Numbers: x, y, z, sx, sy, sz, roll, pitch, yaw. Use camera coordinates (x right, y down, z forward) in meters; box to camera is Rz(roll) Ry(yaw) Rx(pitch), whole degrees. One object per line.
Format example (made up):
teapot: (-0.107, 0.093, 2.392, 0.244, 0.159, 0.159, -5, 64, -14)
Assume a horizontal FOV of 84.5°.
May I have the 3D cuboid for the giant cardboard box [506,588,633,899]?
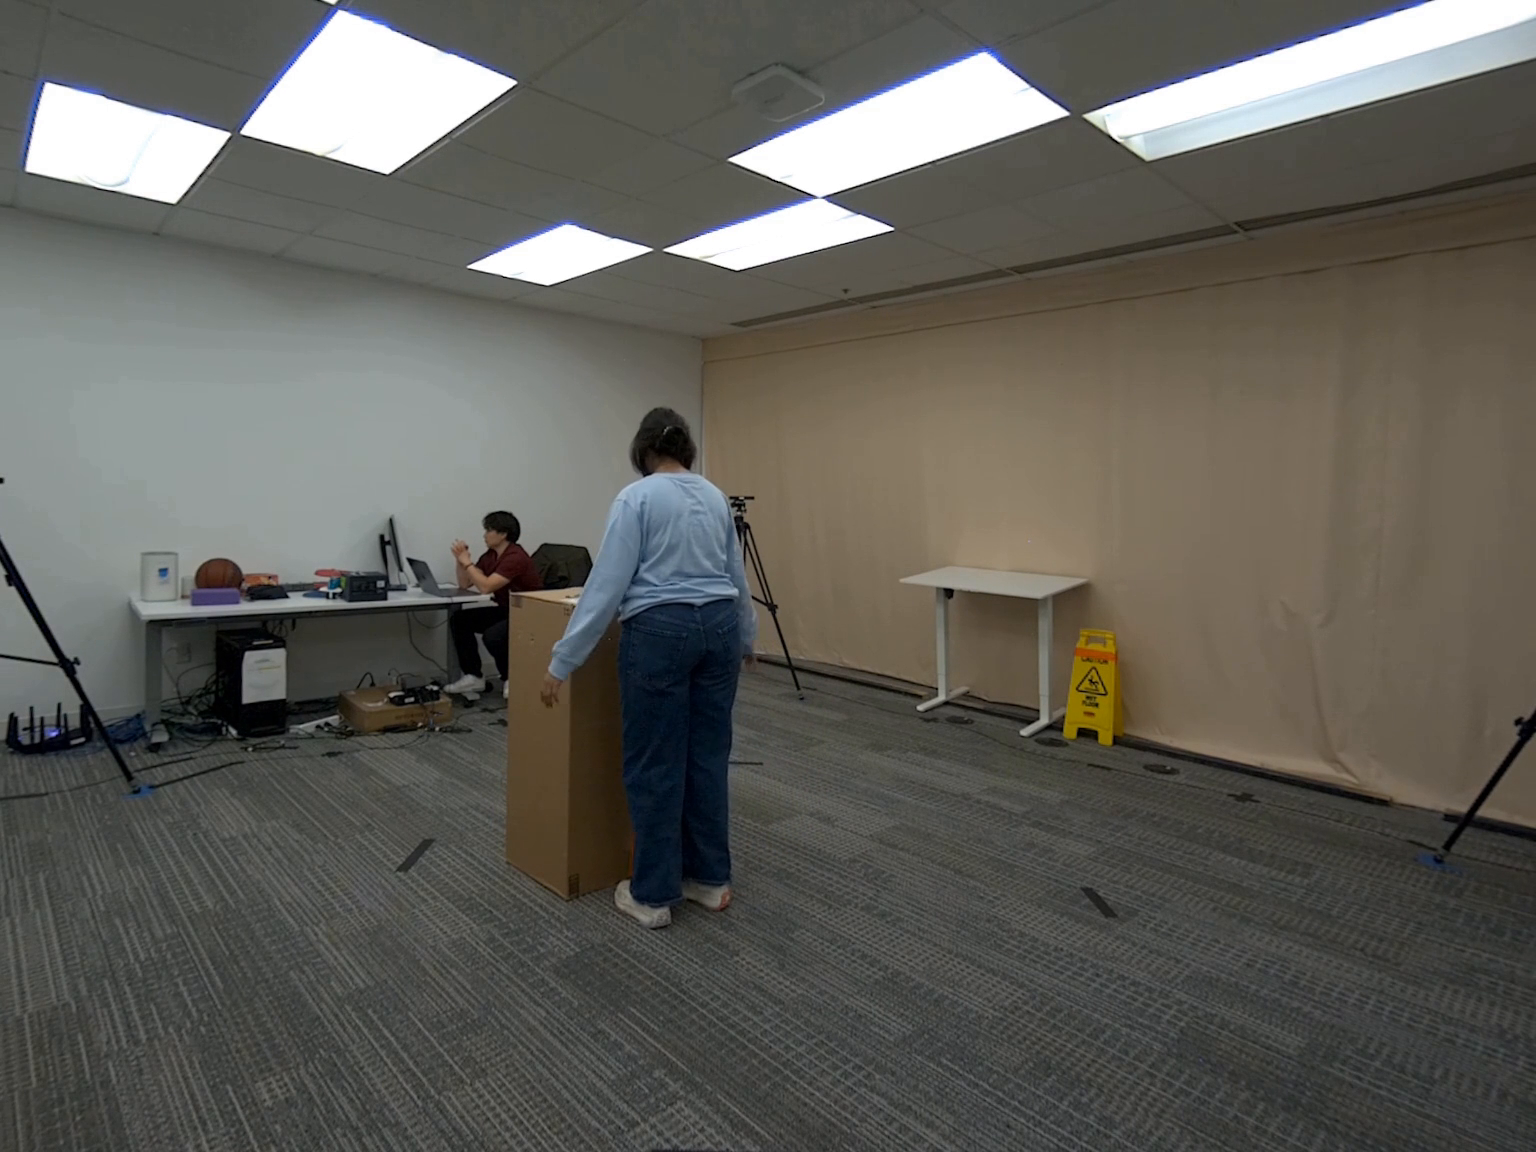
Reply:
giant cardboard box: (-0.641, 0.576, 3.206, 0.570, 1.024, 0.458, -2, 5, -44)
